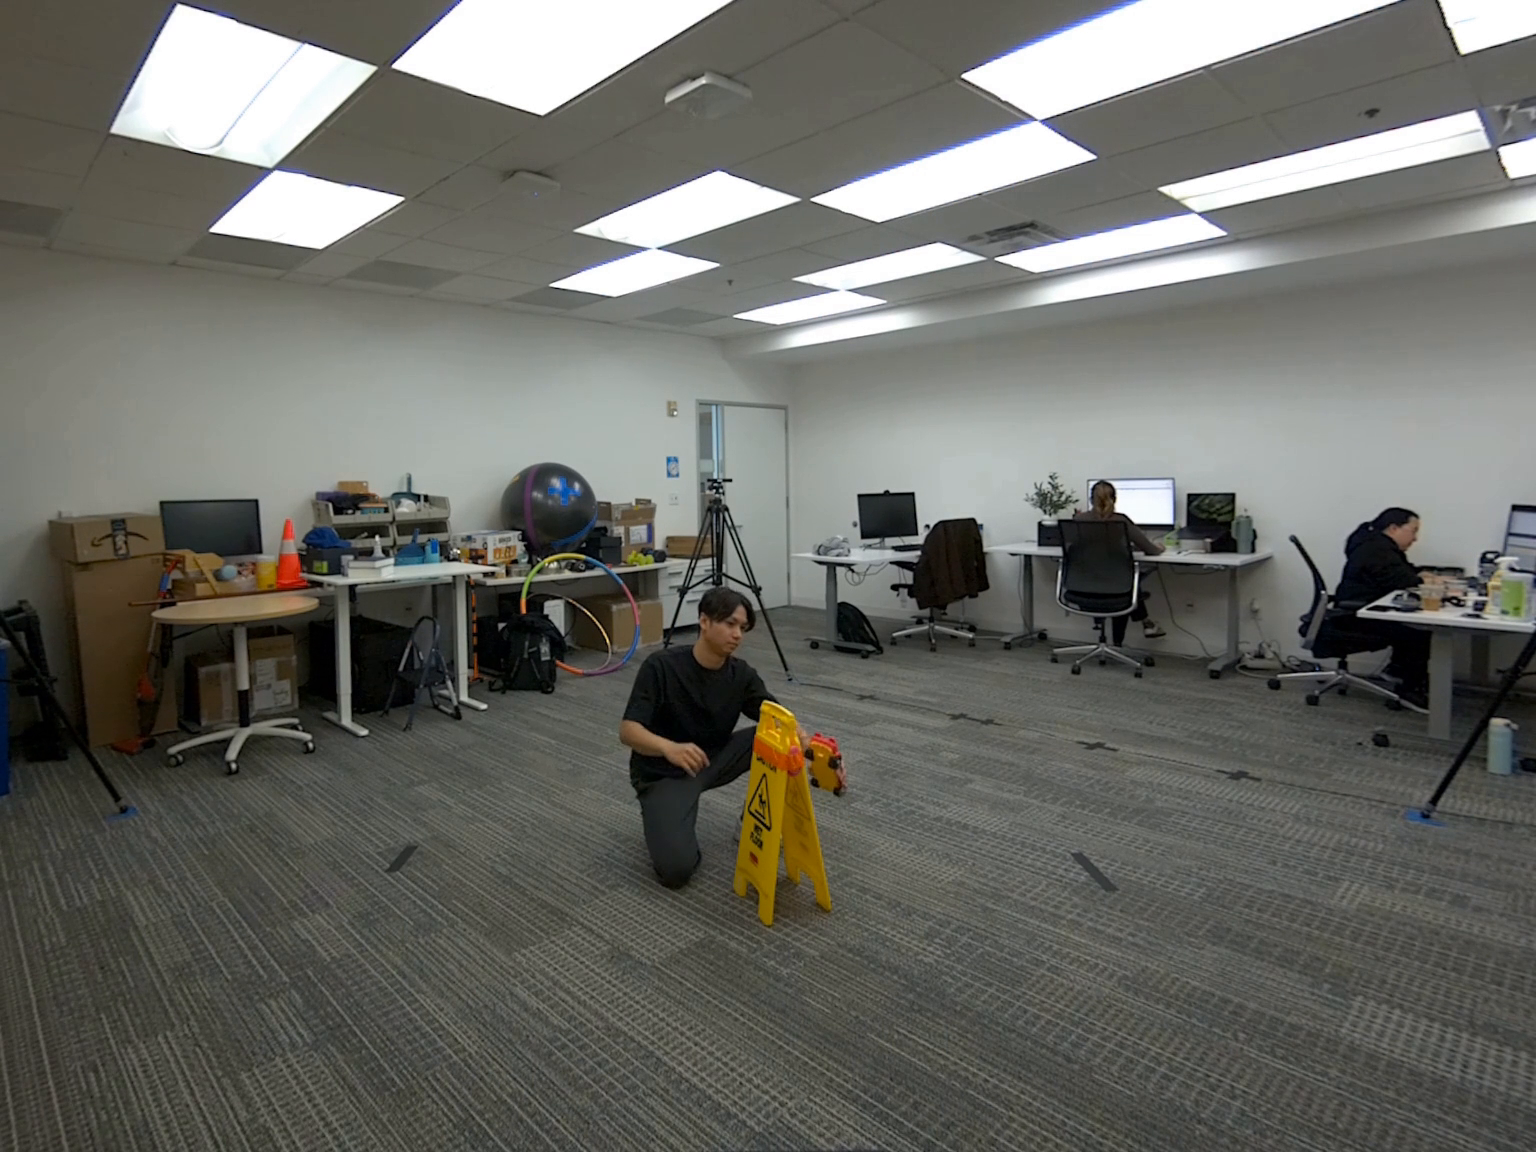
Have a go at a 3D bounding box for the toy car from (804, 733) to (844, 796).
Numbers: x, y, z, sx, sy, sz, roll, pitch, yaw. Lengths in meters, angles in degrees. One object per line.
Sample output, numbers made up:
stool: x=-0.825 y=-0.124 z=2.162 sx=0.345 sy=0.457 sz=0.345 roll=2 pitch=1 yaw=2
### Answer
toy car: x=0.192 y=0.622 z=2.837 sx=0.134 sy=0.249 sz=0.082 roll=14 pitch=29 yaw=32
